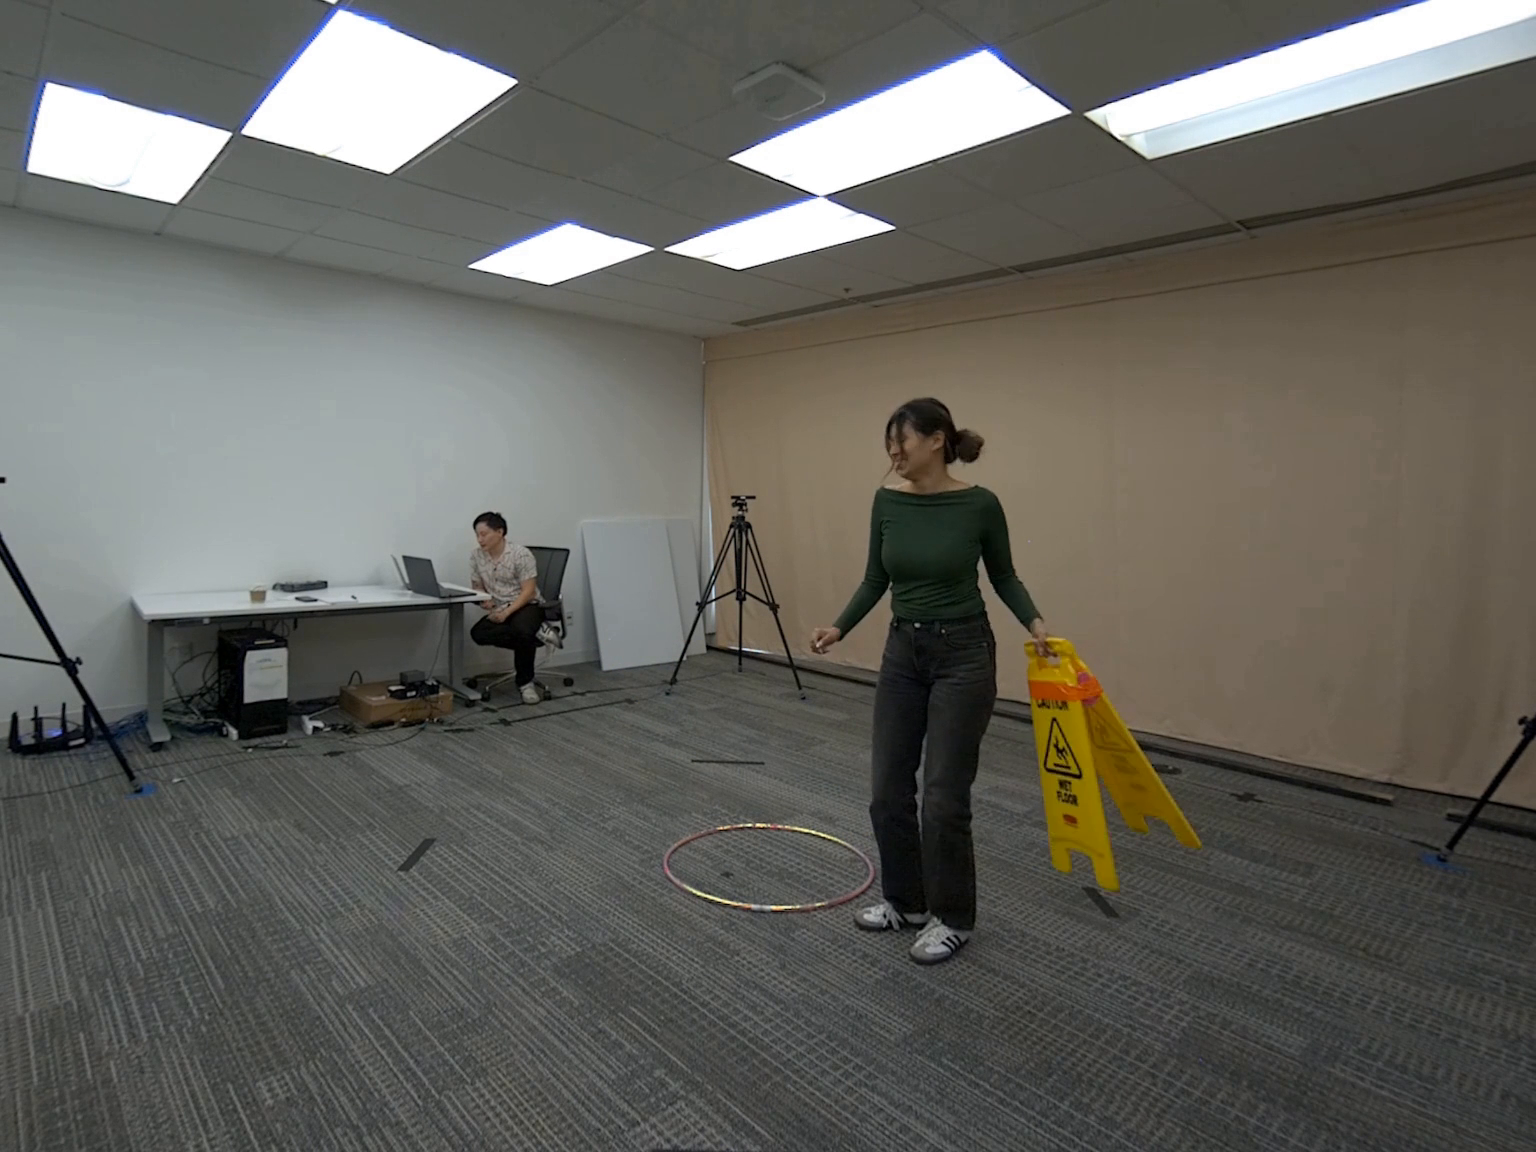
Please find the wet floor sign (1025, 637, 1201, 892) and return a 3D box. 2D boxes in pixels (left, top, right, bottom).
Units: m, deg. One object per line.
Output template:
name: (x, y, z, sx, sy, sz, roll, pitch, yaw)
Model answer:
wet floor sign: (0.869, 0.478, 2.374, 0.287, 0.648, 0.283, -19, -3, -15)
